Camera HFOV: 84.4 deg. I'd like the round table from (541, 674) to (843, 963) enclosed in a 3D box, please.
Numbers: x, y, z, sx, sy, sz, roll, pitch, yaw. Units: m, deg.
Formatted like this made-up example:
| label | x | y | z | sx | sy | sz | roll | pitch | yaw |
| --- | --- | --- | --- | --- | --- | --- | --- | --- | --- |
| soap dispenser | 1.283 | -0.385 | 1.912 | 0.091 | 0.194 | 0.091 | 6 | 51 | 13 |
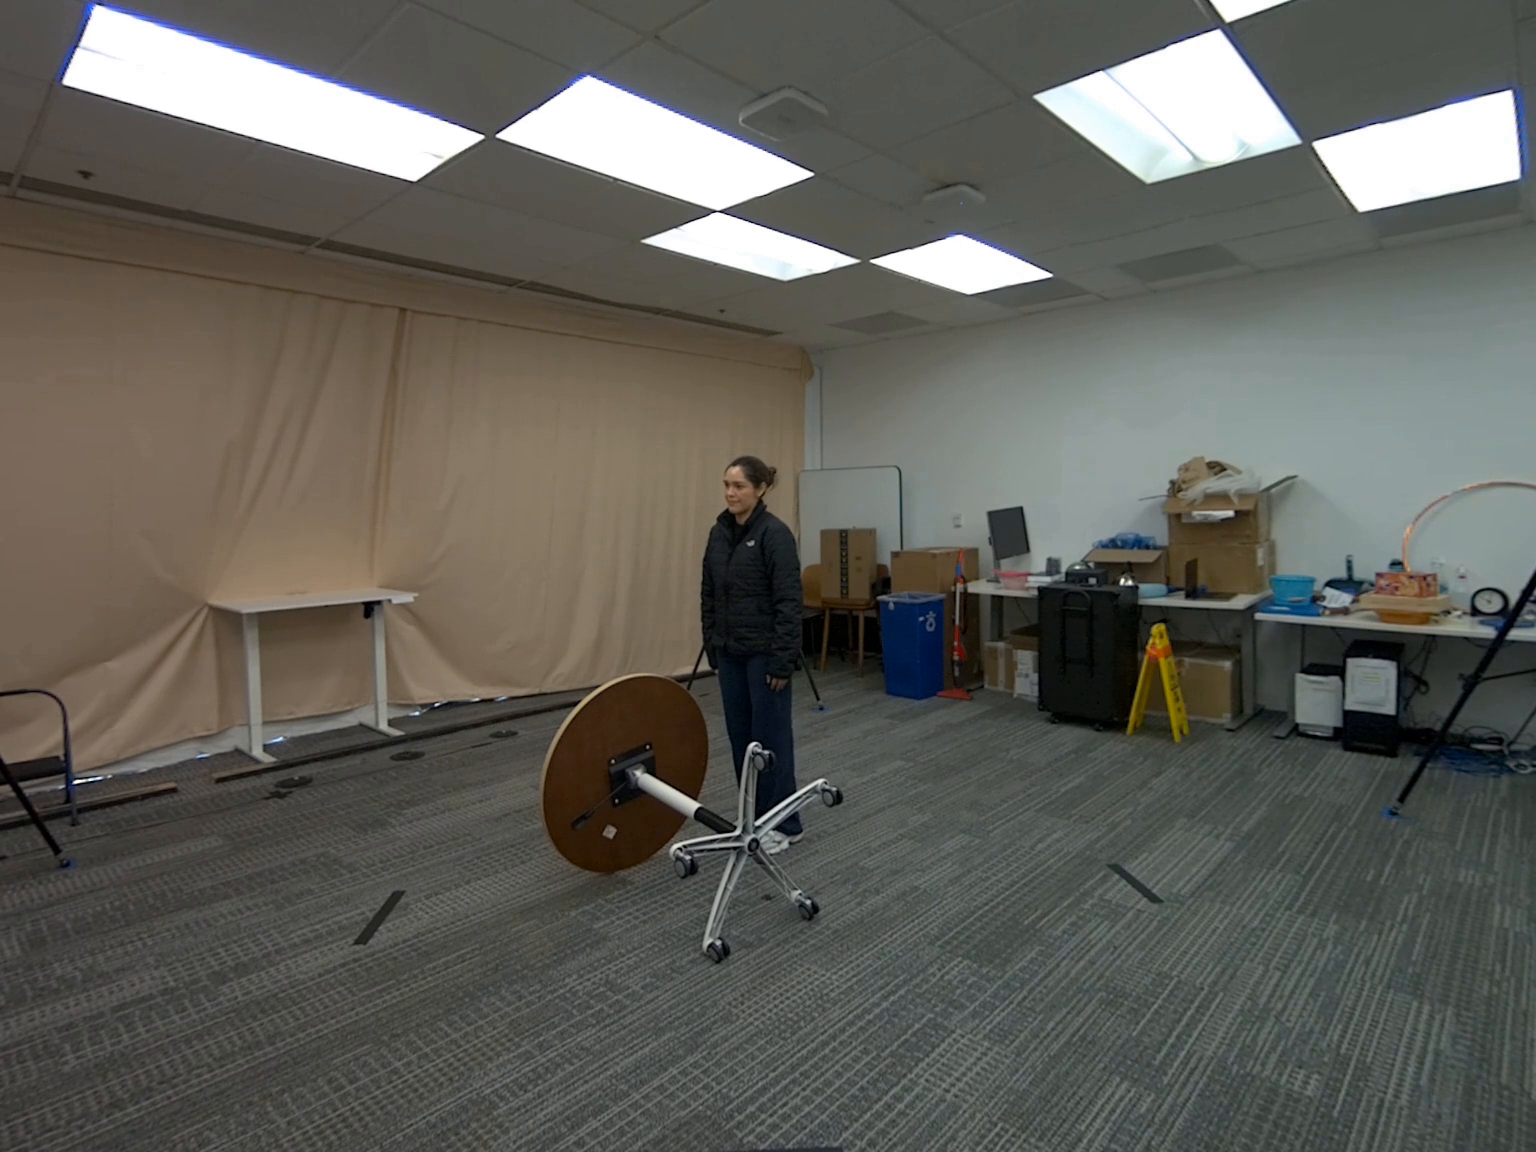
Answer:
| label | x | y | z | sx | sy | sz | roll | pitch | yaw |
| --- | --- | --- | --- | --- | --- | --- | --- | --- | --- |
| round table | -0.239 | 0.805 | 2.933 | 0.761 | 0.781 | 0.814 | -4 | 11 | -43 |
